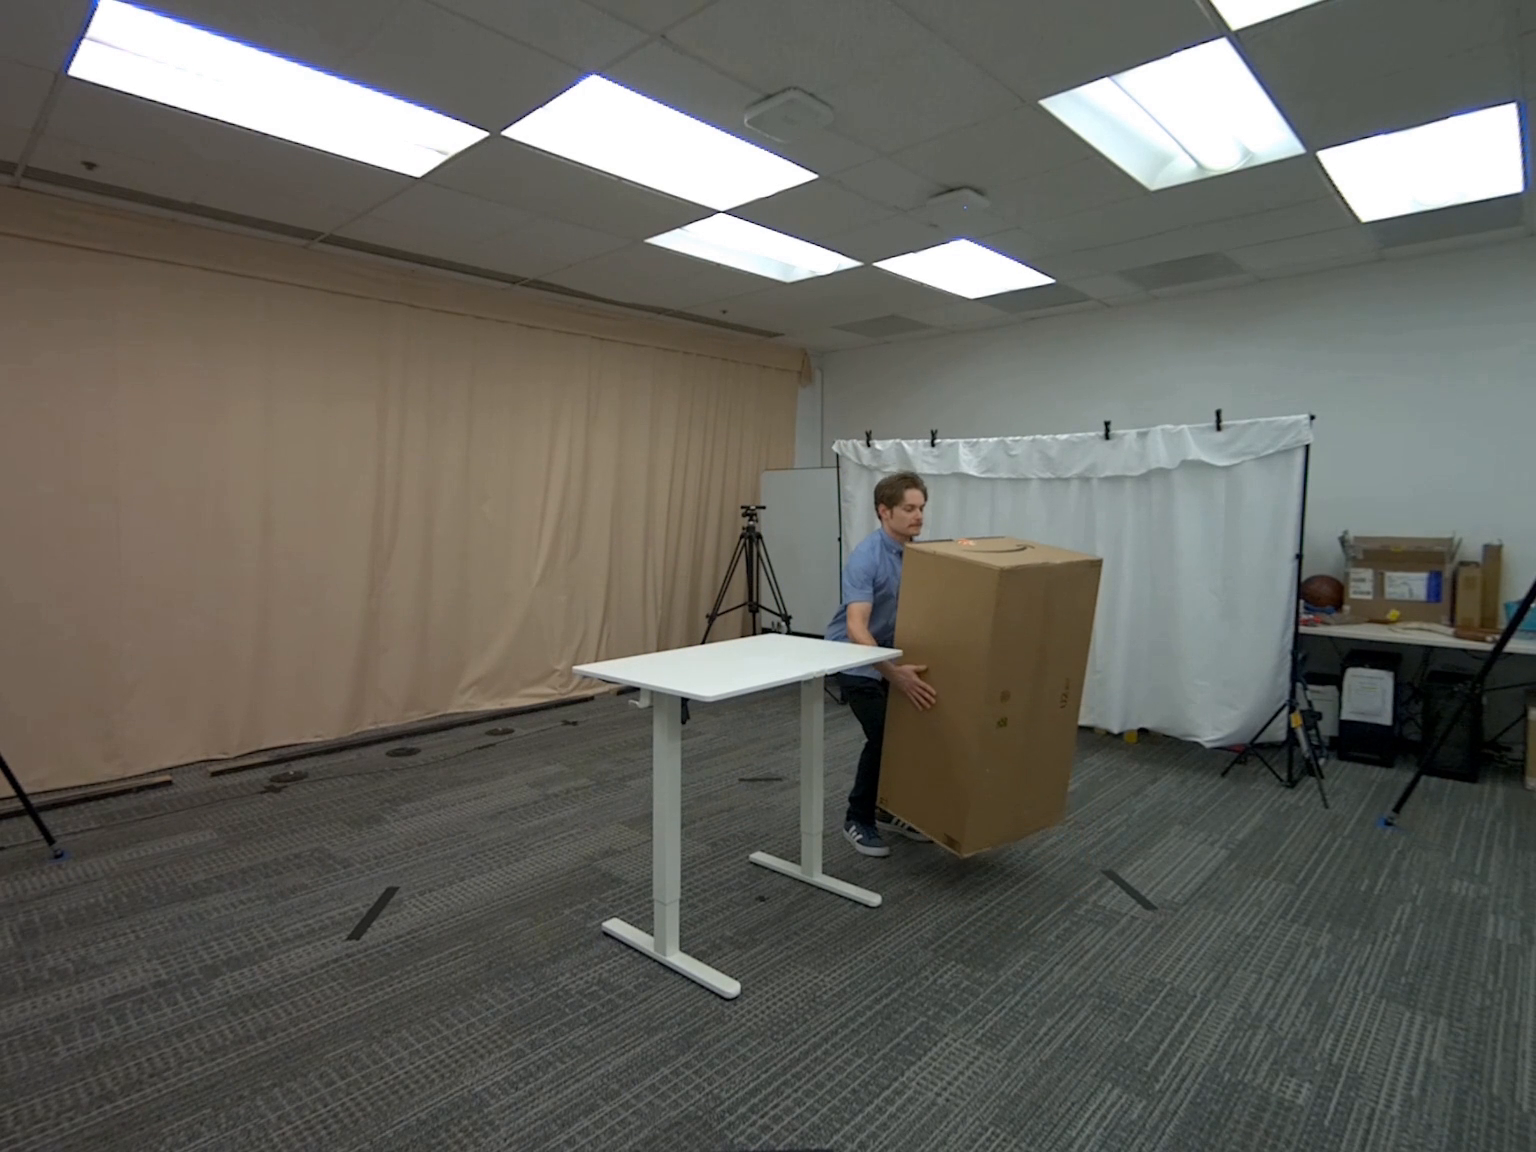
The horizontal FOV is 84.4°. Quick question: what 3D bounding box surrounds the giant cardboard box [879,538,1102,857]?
[{"bbox_3d":[0.809,0.406,3.092,0.561,1.020,0.441,-4,13,-35],"label":"giant cardboard box"}]
